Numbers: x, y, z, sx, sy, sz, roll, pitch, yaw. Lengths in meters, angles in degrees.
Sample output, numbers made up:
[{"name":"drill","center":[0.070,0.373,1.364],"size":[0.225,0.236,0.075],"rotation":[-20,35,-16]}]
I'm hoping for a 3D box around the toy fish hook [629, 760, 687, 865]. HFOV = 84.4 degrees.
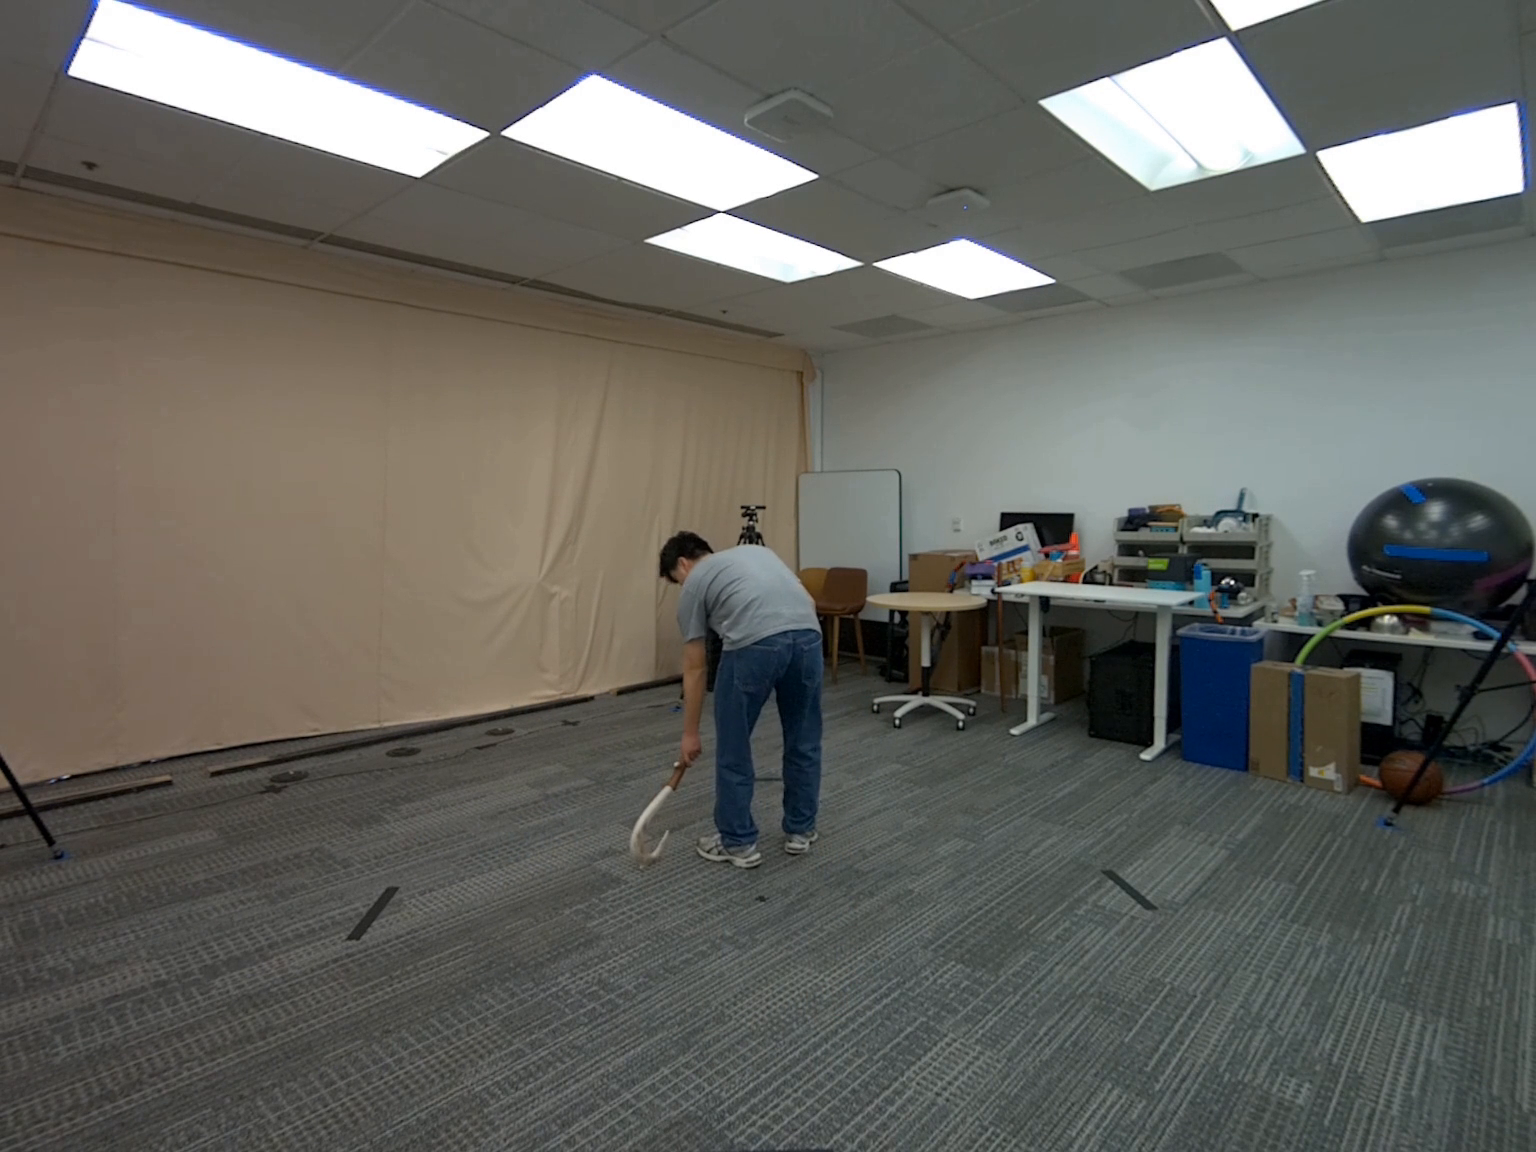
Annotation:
[{"name":"toy fish hook","center":[-0.395,0.922,3.356],"size":[0.050,0.218,0.505],"rotation":[11,48,28]}]
